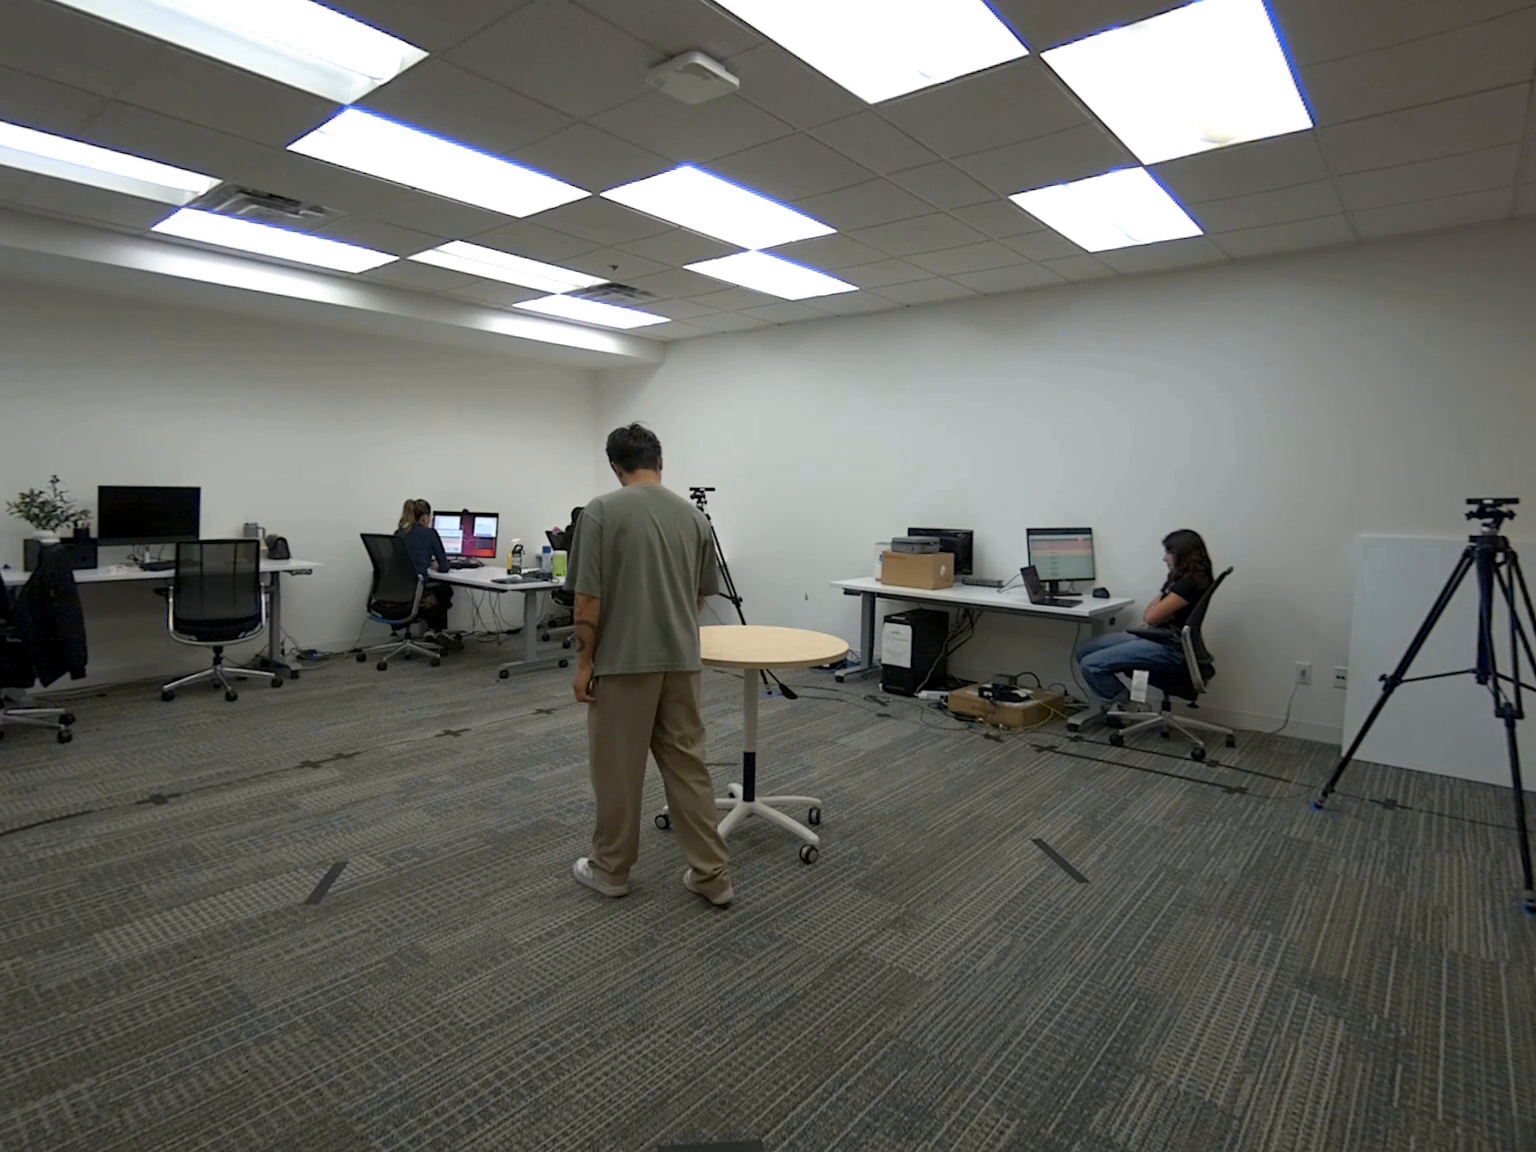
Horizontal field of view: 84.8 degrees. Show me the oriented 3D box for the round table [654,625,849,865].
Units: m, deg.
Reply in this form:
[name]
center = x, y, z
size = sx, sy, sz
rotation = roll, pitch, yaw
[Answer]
[round table]
center = -0.080, 0.651, 3.415
size = 0.763, 0.791, 0.768
rotation = 1, 4, -2
